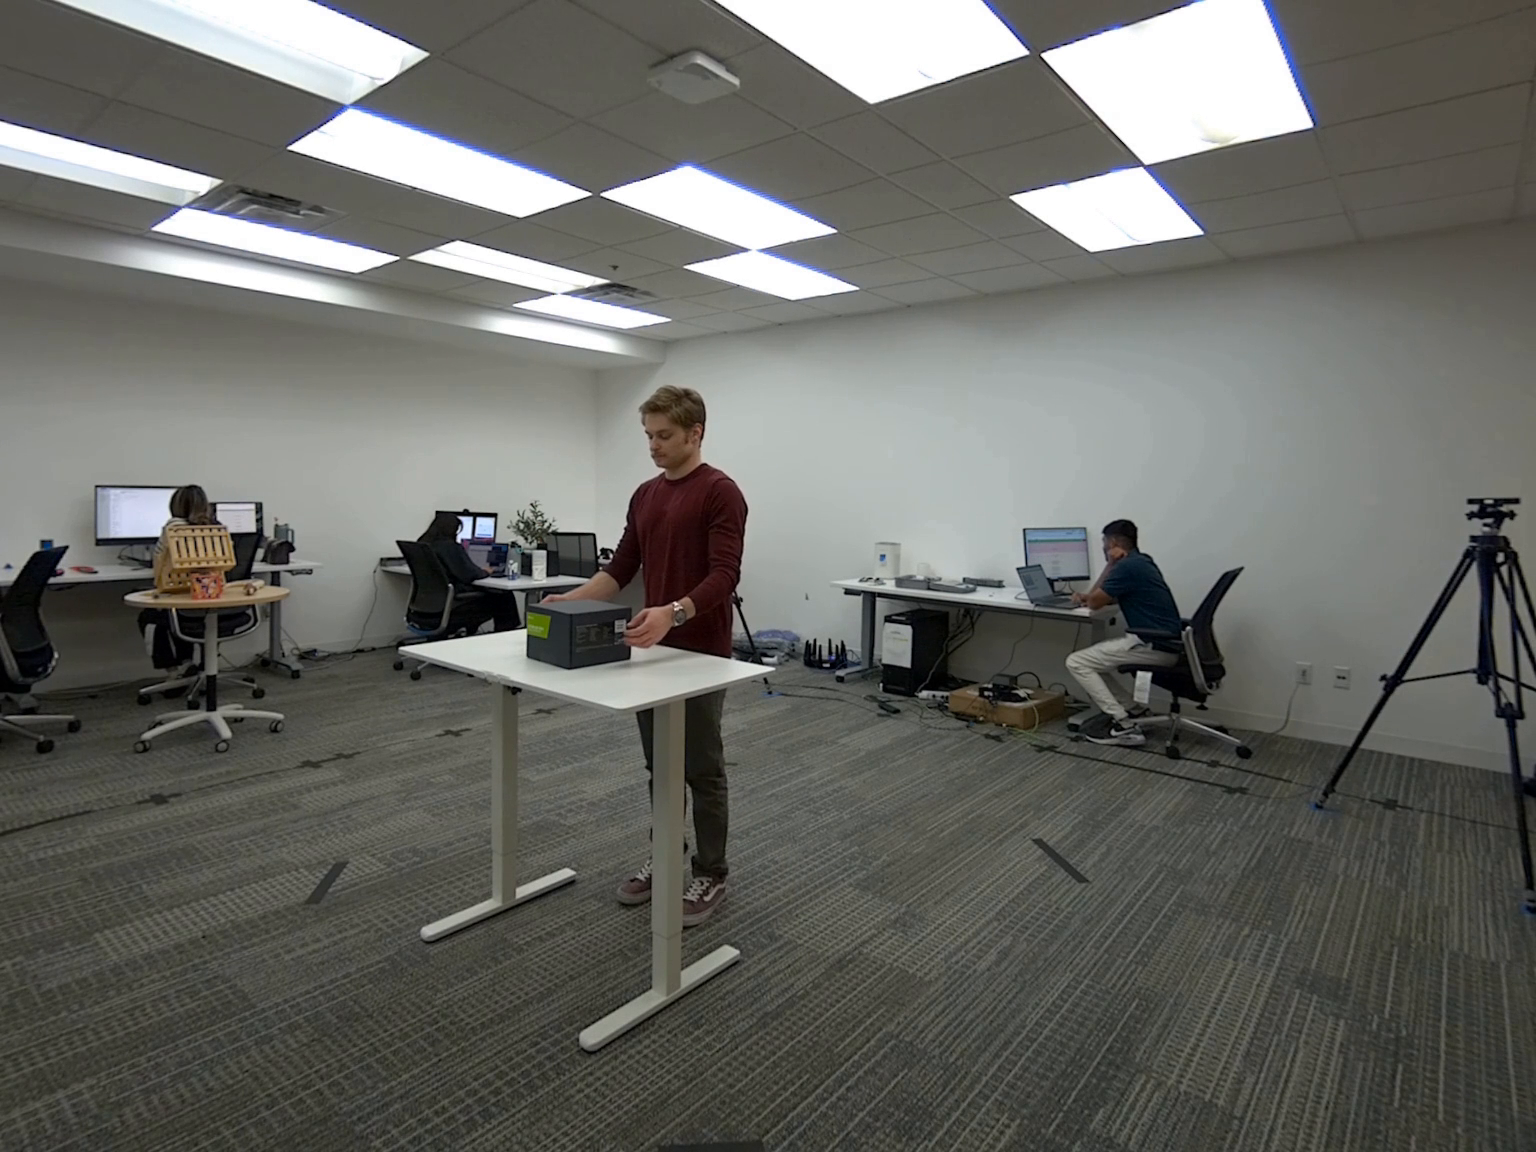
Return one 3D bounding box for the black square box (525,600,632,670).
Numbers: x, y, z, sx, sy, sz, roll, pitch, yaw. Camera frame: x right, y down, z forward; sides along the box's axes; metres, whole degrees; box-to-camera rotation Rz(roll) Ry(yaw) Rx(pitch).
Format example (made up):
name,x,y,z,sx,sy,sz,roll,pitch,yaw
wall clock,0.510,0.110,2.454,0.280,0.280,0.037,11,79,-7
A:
name,x,y,z,sx,sy,sz,roll,pitch,yaw
black square box,-0.560,0.159,2.488,0.210,0.155,0.236,-4,8,-44
